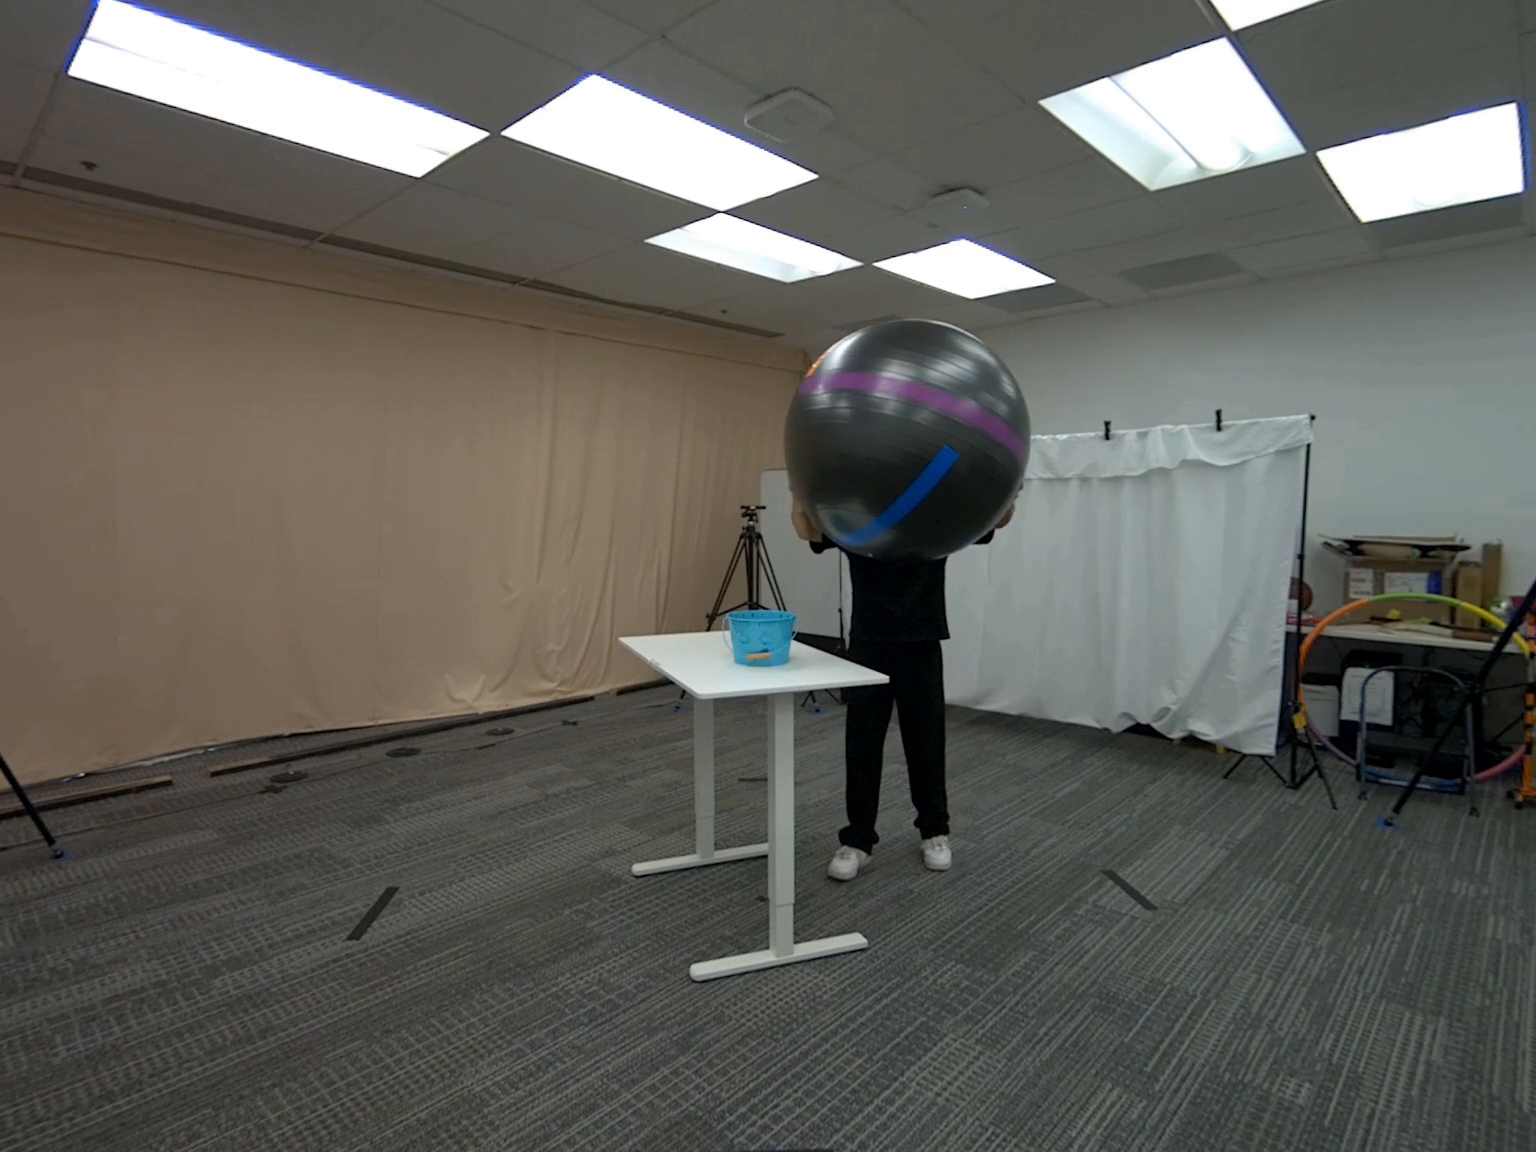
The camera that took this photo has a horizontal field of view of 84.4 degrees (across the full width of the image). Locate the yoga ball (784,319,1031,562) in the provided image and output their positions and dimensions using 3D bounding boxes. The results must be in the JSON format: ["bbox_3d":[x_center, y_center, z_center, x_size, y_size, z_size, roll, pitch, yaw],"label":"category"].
[{"bbox_3d":[0.435,-0.422,2.673,0.757,0.756,0.760,0,4,-2],"label":"yoga ball"}]
